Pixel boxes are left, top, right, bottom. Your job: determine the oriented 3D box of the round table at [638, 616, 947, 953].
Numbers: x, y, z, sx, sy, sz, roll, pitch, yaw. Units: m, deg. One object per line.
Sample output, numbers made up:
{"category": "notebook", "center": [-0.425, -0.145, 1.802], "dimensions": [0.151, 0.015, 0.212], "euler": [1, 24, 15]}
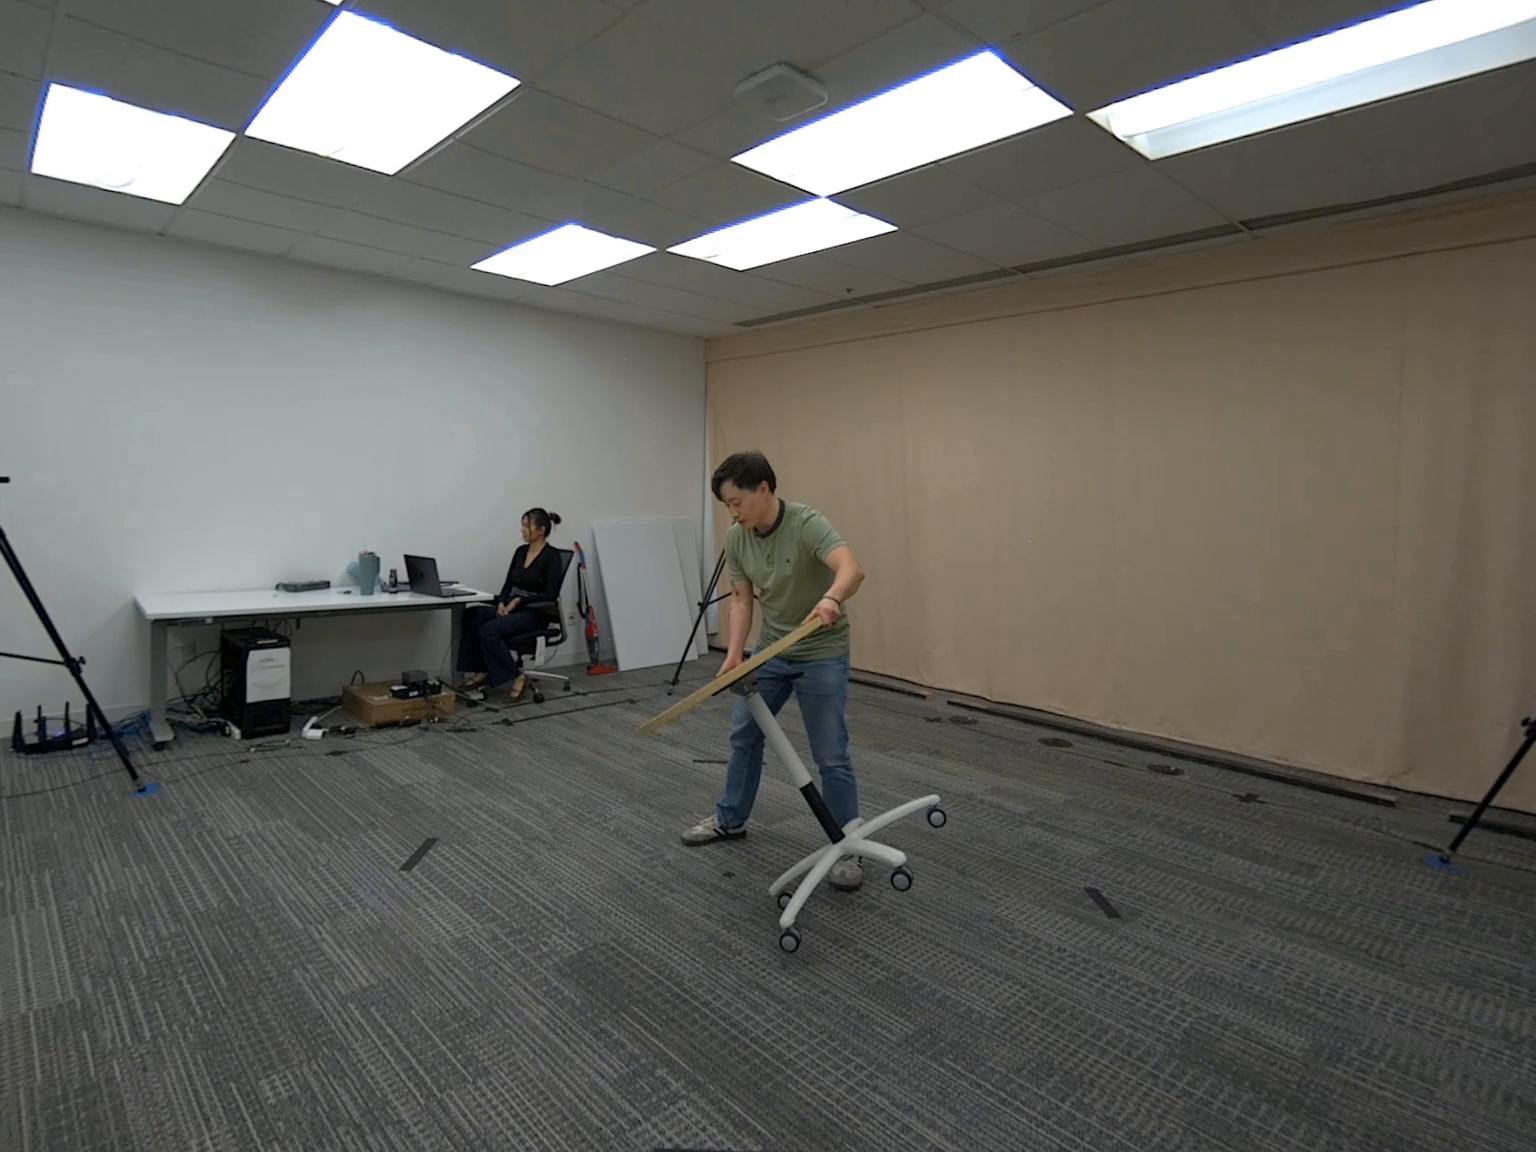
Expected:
{"category": "round table", "center": [0.094, 0.645, 2.746], "dimensions": [0.763, 0.799, 0.760], "euler": [-31, -5, -4]}
